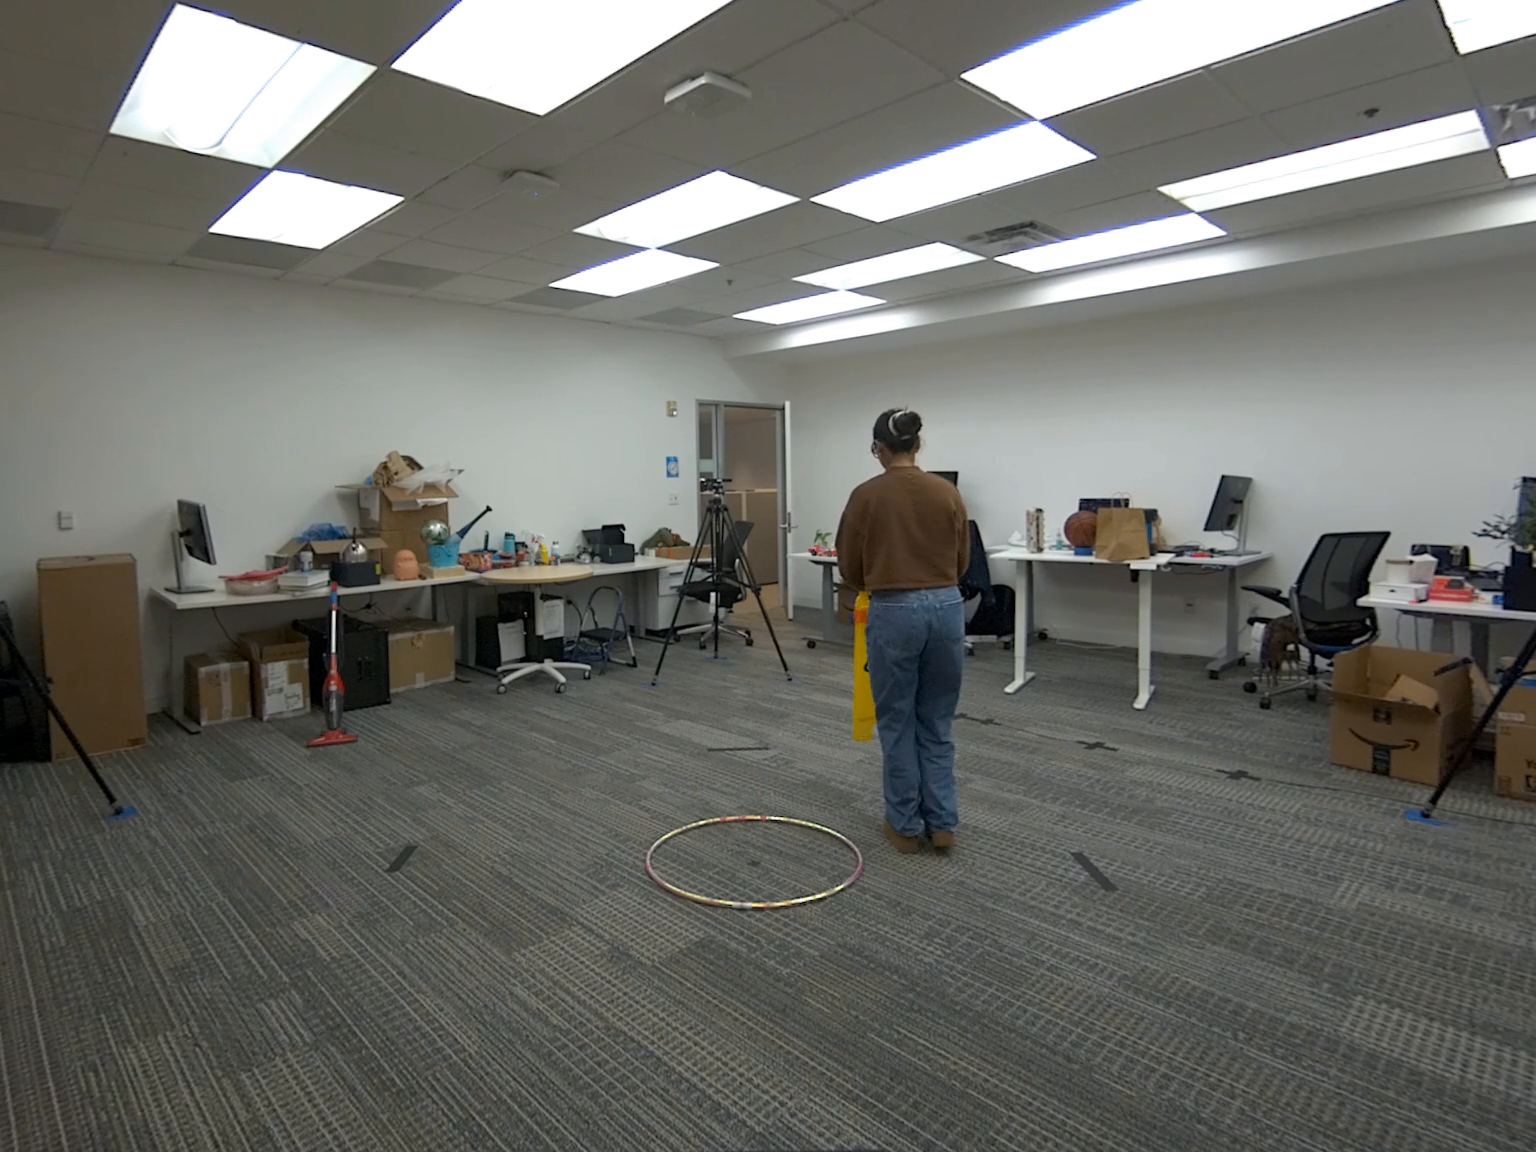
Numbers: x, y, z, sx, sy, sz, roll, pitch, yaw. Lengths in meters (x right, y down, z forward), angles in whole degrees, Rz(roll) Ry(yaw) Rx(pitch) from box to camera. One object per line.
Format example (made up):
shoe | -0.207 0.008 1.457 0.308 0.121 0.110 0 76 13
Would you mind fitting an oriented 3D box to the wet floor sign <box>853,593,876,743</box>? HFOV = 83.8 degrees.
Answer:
wet floor sign | 0.489 0.332 3.549 0.285 0.639 0.290 0 11 8
